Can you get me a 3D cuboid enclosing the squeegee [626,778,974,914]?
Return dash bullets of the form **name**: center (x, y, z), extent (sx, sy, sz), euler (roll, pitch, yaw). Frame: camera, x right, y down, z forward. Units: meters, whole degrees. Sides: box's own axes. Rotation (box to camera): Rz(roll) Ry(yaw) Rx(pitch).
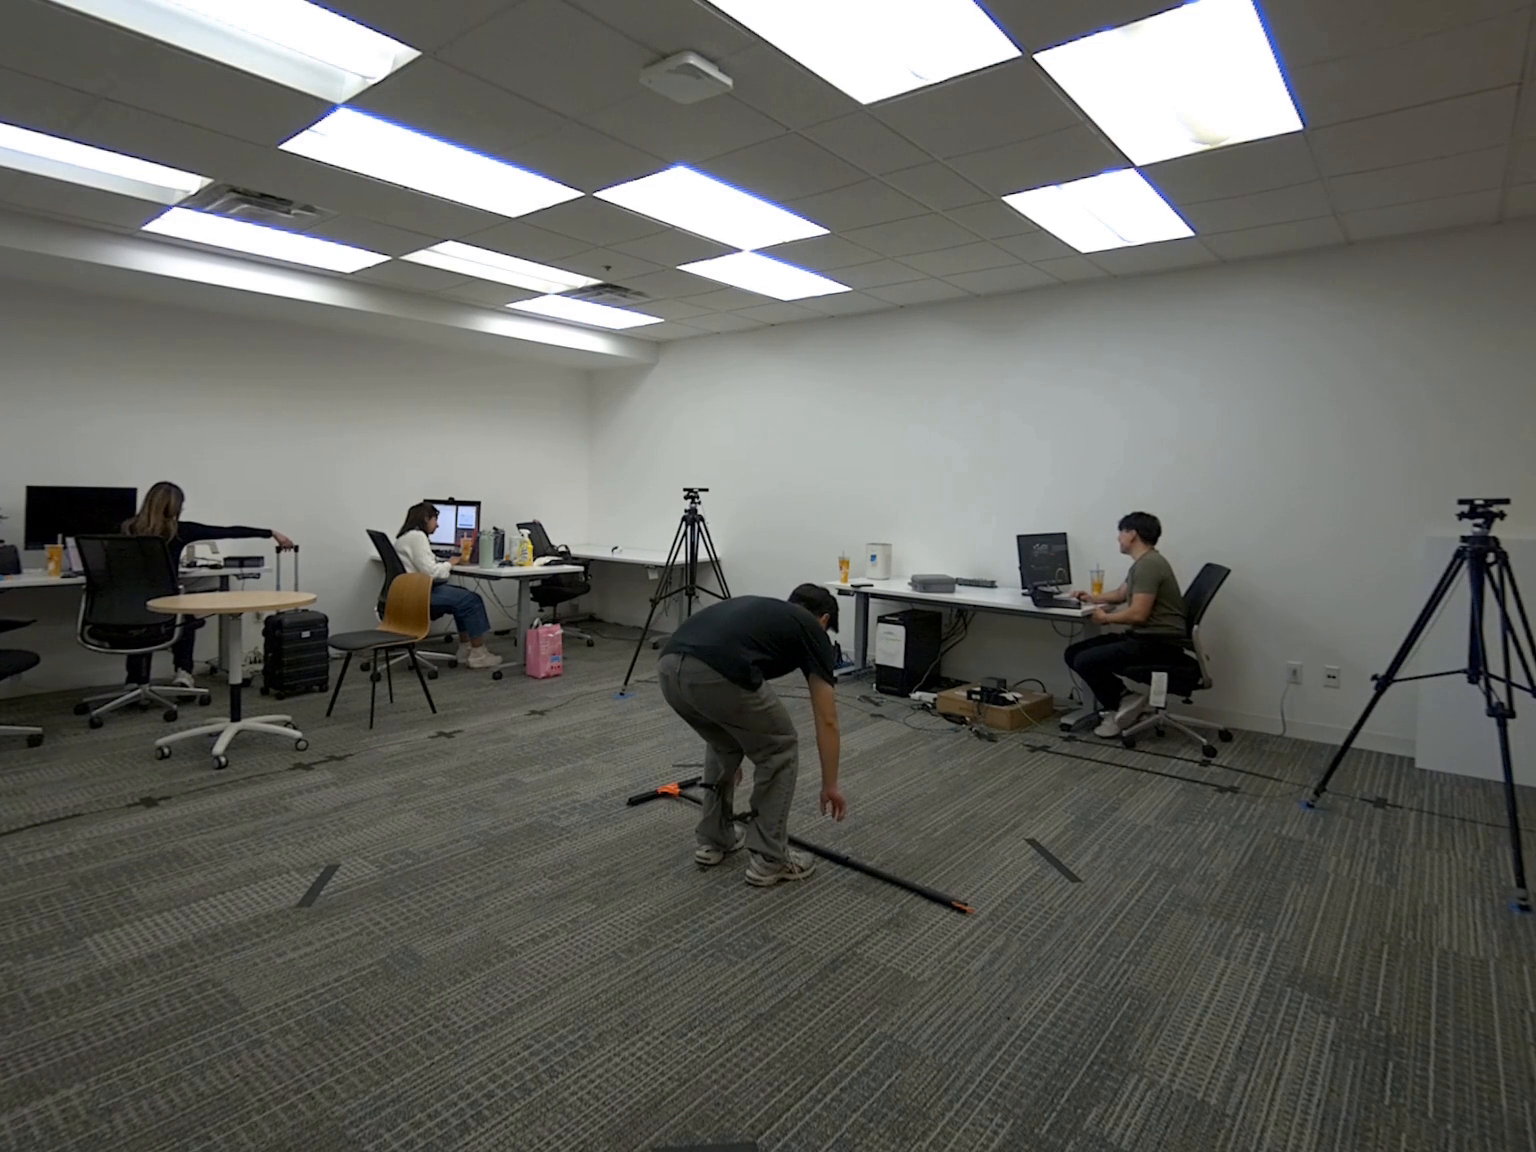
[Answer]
- **squeegee**: center (0.085, 1.019, 3.347), extent (1.592, 0.052, 0.425), euler (8, 10, 42)
